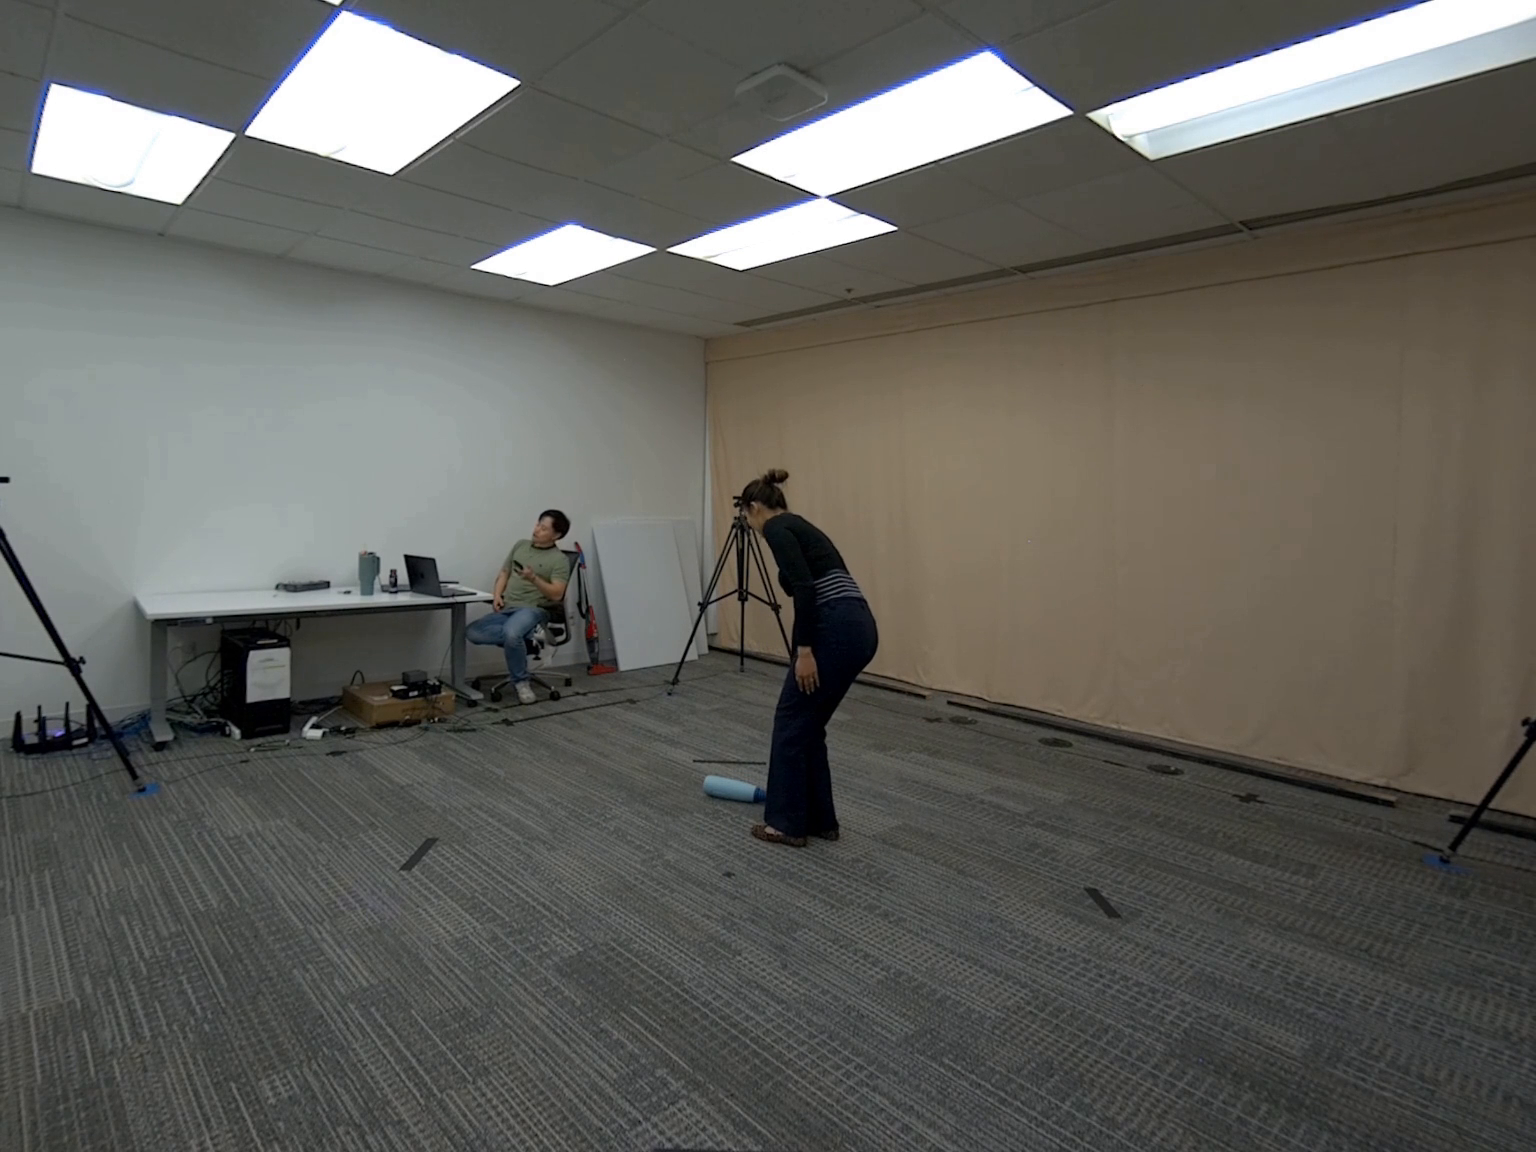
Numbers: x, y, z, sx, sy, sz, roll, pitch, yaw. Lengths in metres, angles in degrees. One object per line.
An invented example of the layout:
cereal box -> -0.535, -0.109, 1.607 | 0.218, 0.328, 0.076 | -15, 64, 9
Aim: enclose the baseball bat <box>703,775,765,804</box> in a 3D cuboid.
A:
baseball bat -> -0.043, 1.003, 3.847 | 0.551, 0.089, 0.088 | 7, 6, 18
